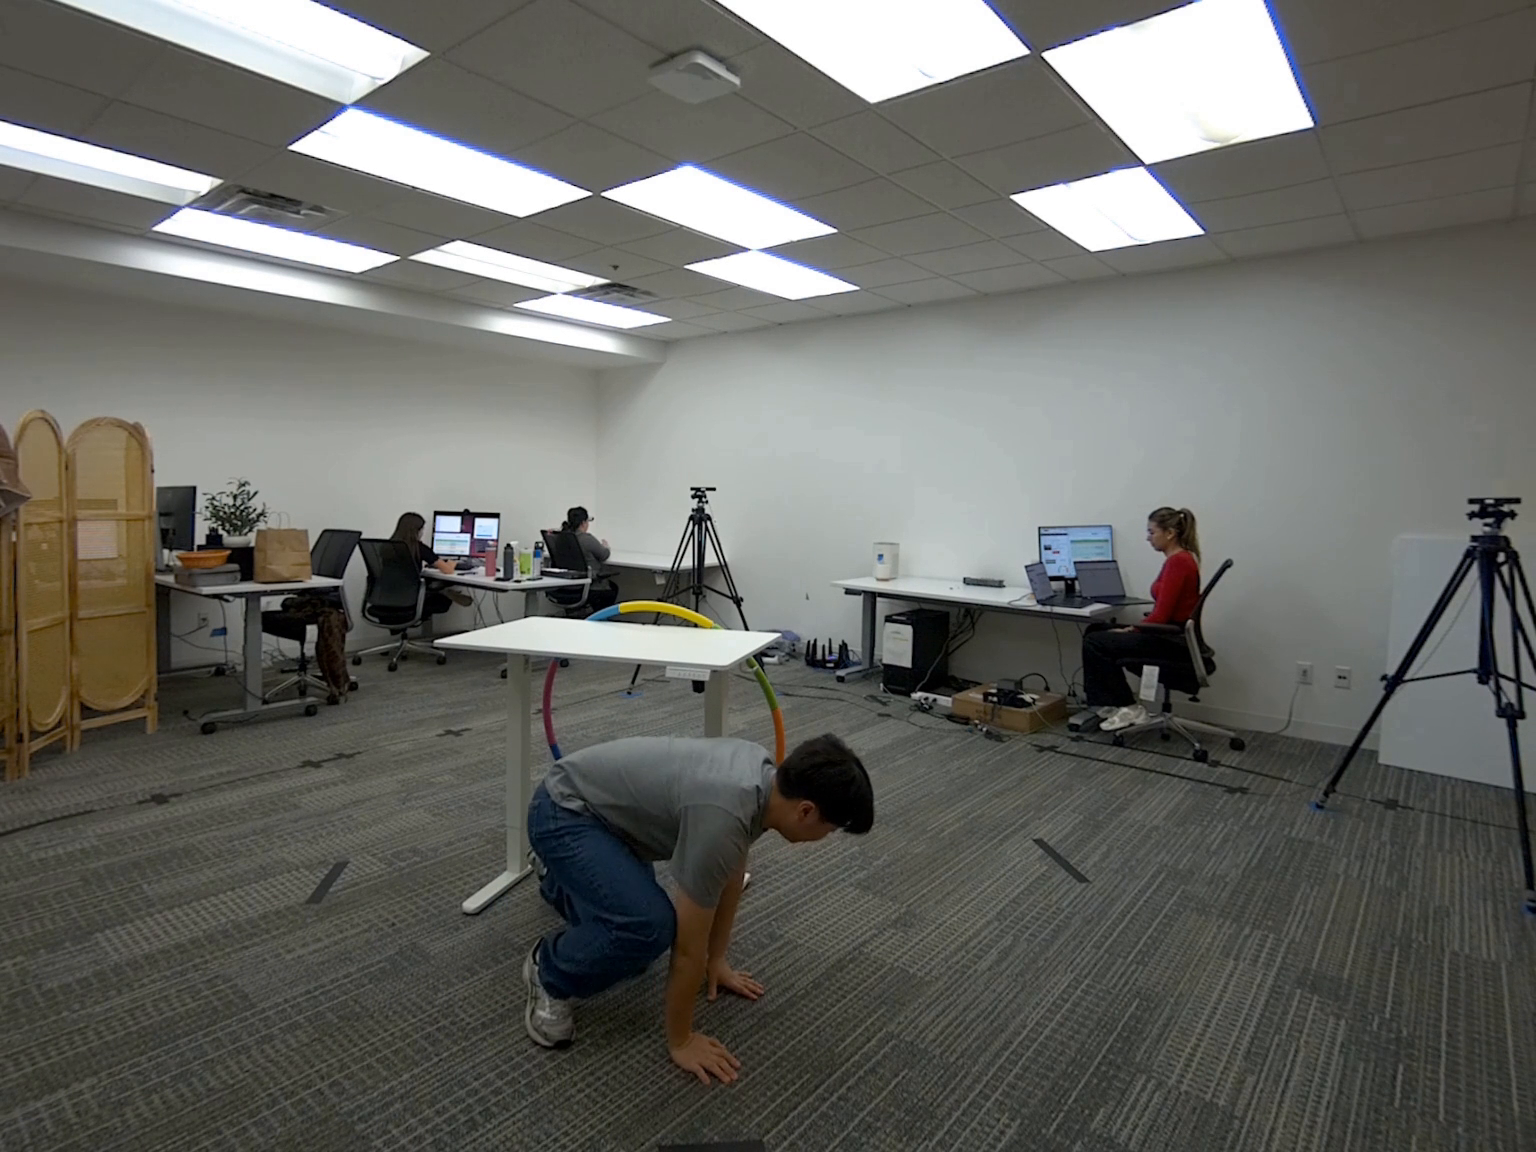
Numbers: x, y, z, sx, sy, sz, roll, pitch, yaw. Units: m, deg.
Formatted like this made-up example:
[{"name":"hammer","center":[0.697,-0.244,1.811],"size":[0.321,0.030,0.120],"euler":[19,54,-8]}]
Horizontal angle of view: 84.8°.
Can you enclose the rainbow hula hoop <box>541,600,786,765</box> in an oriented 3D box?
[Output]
[{"name":"rainbow hula hoop","center":[-0.427,0.572,3.218],"size":[0.998,0.967,0.035],"euler":[3,12,18]}]
